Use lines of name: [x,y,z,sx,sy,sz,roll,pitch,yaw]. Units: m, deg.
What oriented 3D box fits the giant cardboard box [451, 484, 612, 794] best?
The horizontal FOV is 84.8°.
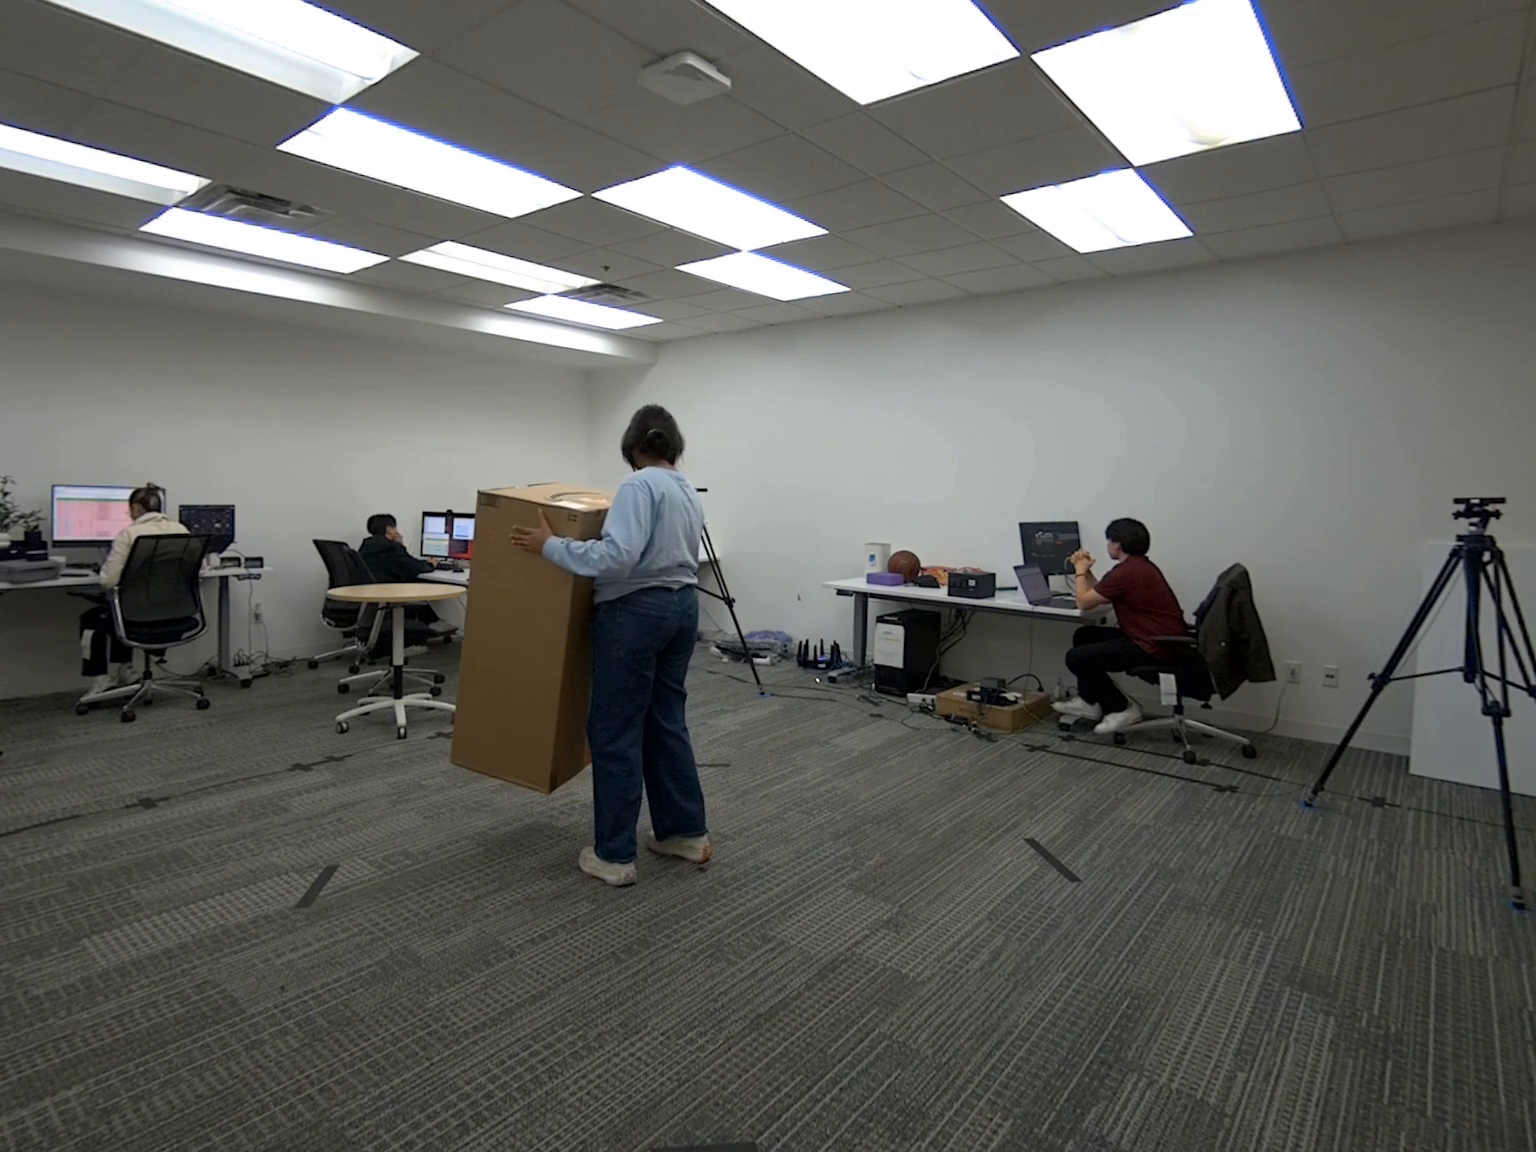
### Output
giant cardboard box: [-0.823,0.198,3.255,0.457,1.019,0.576,12,10,17]
